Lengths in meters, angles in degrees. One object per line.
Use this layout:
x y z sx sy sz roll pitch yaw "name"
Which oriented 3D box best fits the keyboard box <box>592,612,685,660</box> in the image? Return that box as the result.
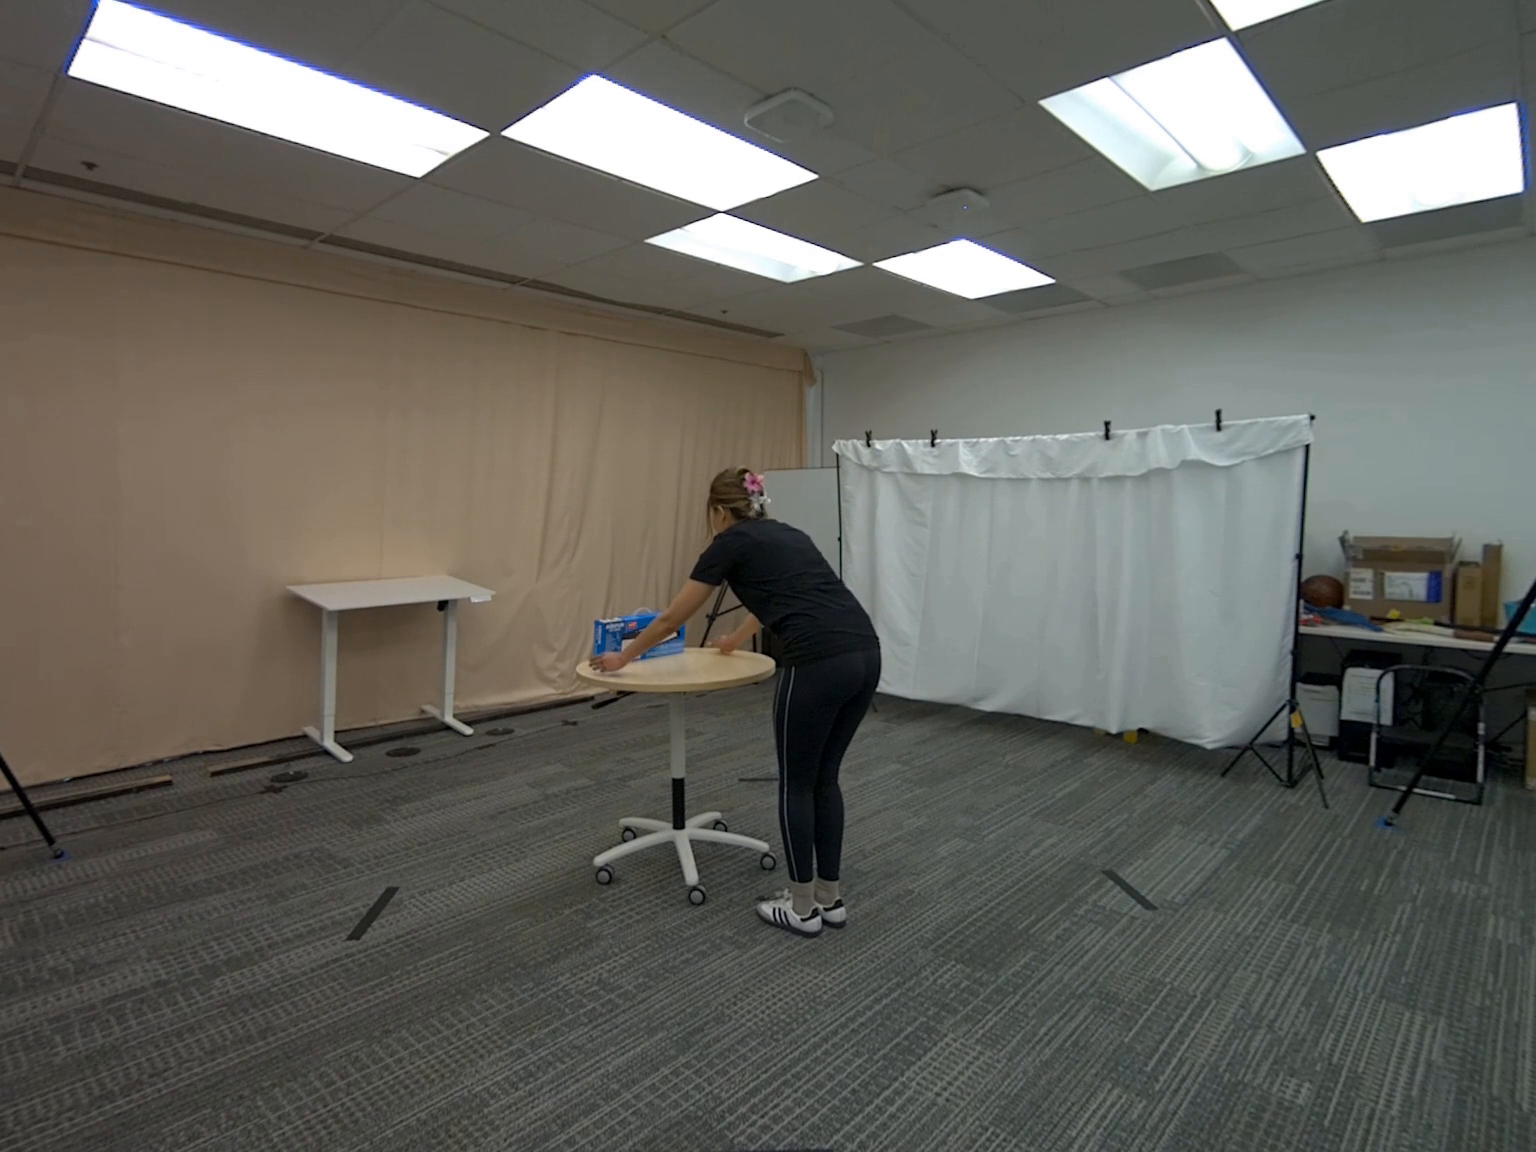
-0.509 0.246 3.386 0.061 0.175 0.424 11 11 41 "keyboard box"
